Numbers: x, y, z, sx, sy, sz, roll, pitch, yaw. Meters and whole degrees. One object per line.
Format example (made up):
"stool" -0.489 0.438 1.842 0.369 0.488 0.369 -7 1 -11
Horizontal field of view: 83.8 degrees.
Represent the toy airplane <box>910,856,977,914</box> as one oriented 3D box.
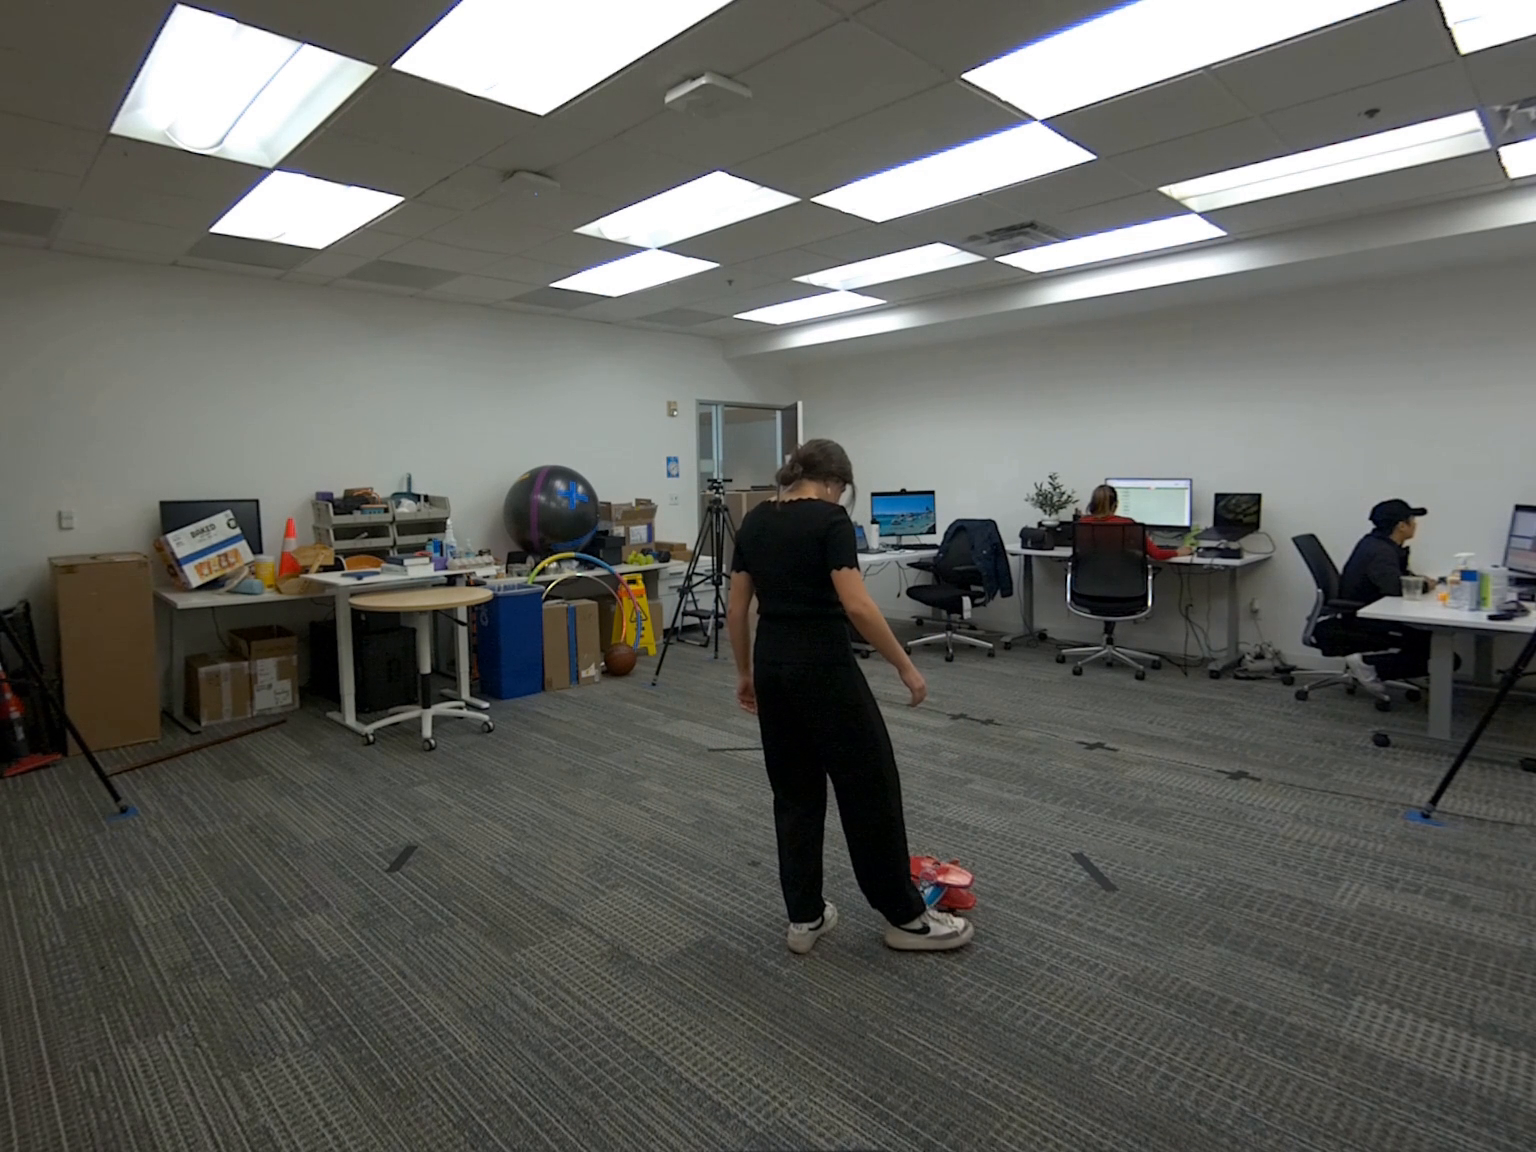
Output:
"toy airplane" 0.536 1.006 2.700 0.252 0.156 0.258 0 3 5
